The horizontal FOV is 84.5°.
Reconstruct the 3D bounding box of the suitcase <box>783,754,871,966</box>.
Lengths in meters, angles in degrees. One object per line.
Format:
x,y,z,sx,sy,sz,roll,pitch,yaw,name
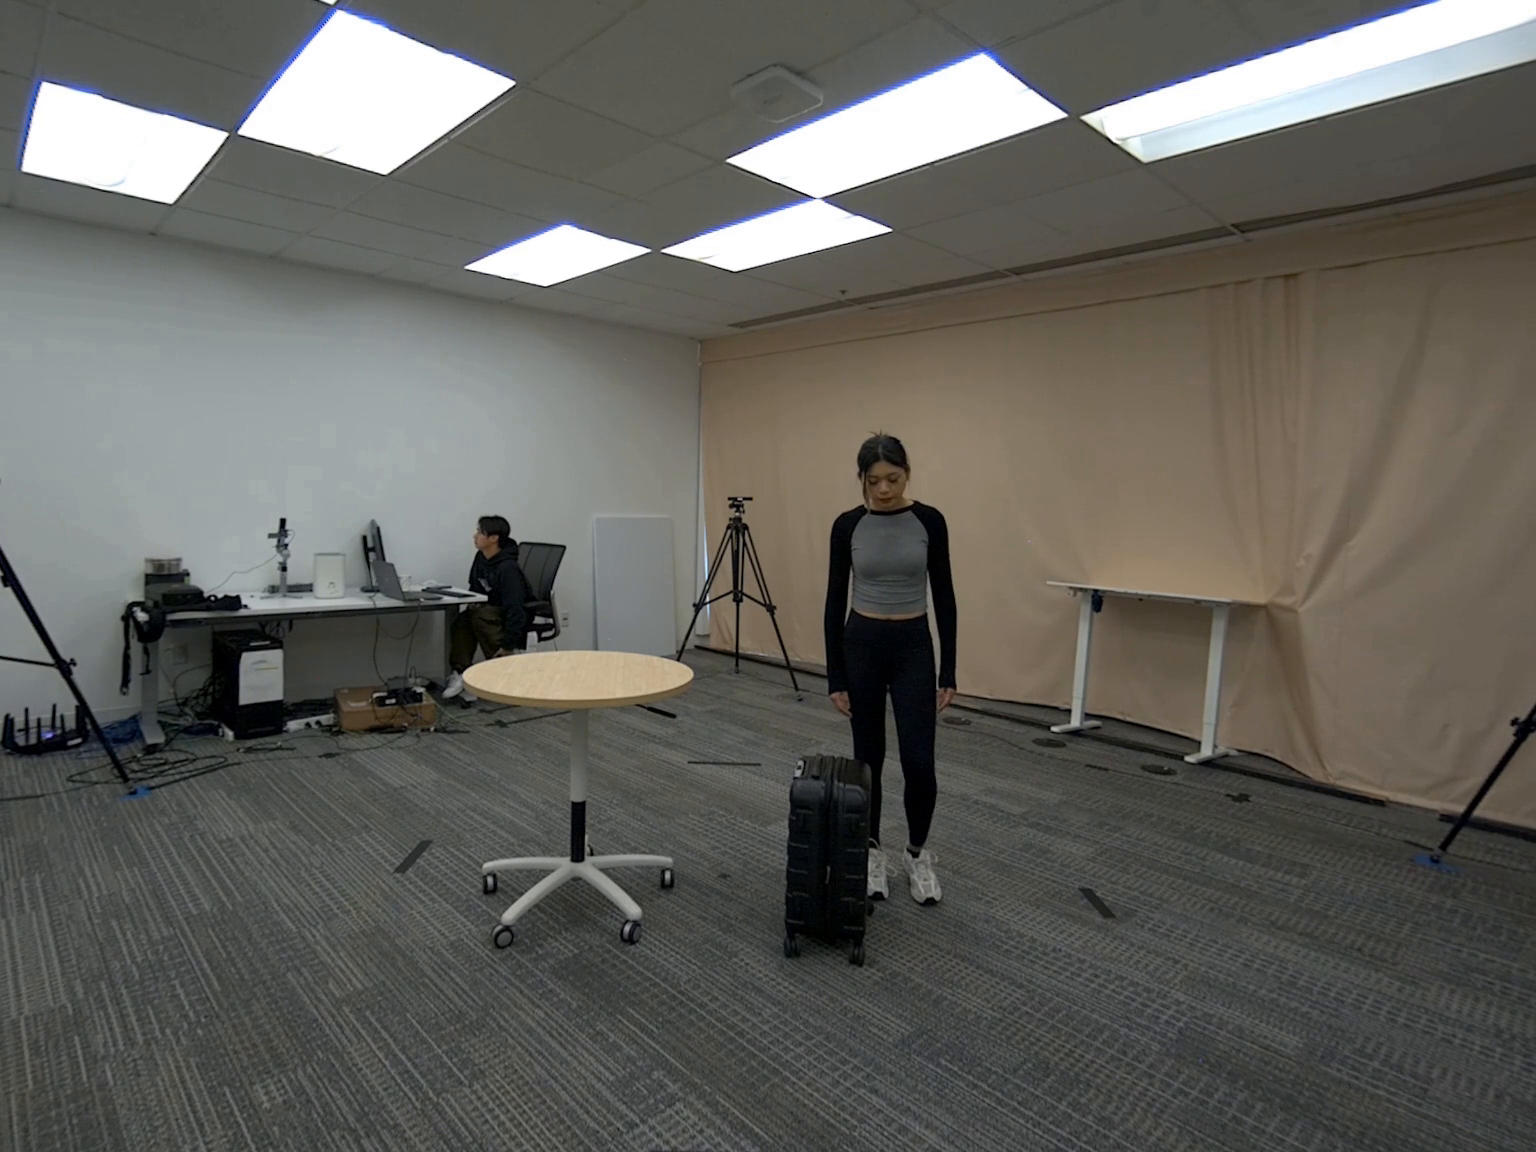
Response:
0.200,0.884,2.697,0.250,0.548,0.373,3,3,7,suitcase
